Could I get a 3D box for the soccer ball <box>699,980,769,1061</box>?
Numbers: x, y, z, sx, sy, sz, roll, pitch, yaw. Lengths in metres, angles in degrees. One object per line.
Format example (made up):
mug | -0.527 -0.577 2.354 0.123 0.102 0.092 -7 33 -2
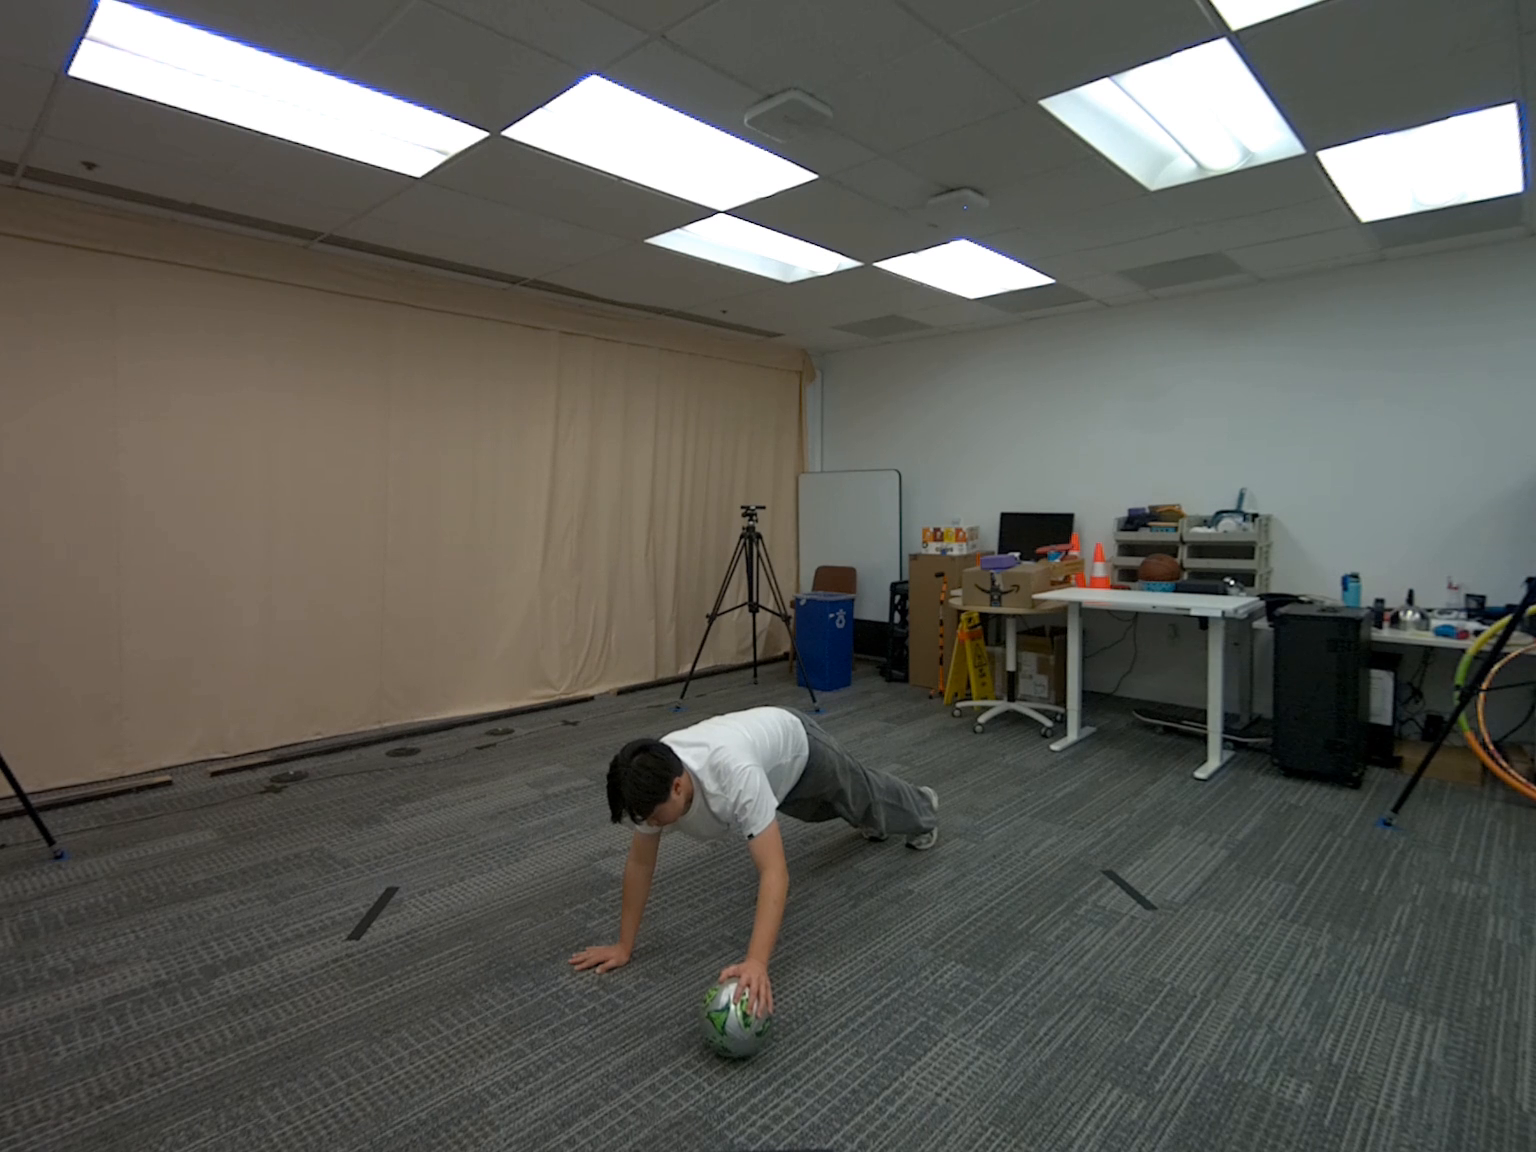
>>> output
soccer ball | -0.086 1.119 2.163 0.187 0.187 0.188 0 4 -2
